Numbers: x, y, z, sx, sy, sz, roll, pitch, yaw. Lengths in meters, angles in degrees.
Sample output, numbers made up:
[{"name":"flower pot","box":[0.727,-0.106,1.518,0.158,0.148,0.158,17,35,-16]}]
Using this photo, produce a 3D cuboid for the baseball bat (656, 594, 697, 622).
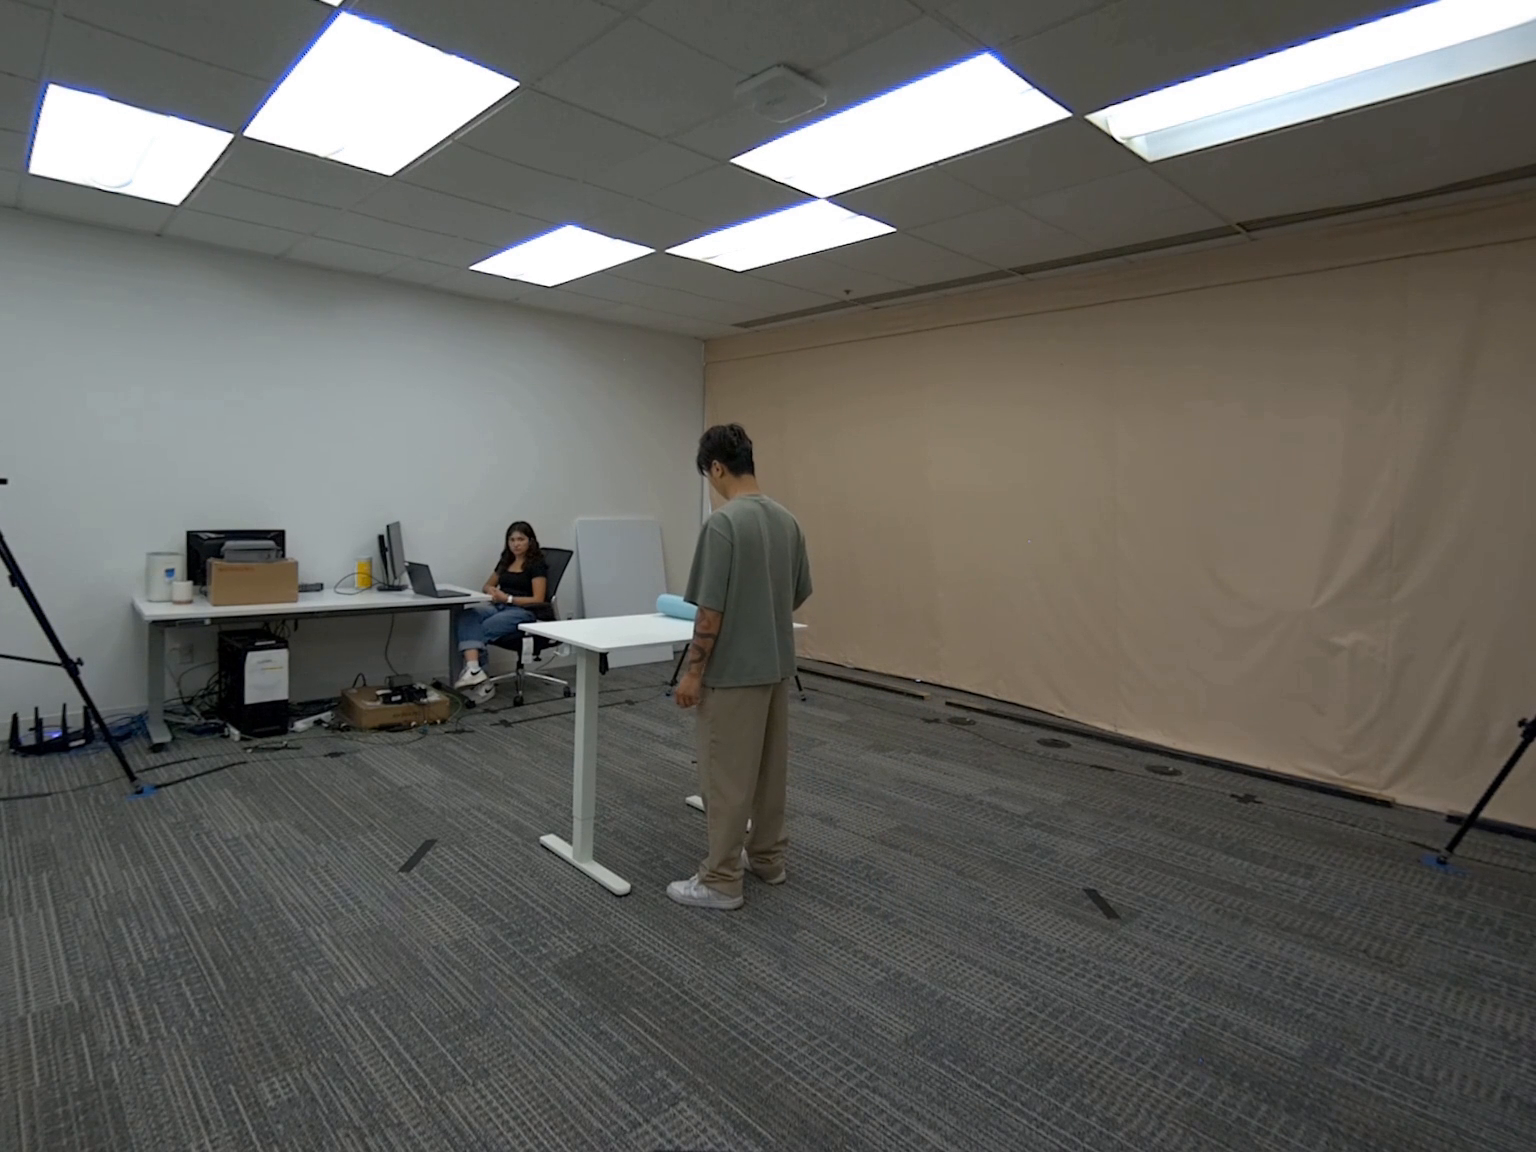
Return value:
[{"name":"baseball bat","box":[-0.249,0.159,3.469,0.557,0.088,0.087,11,9,37]}]
